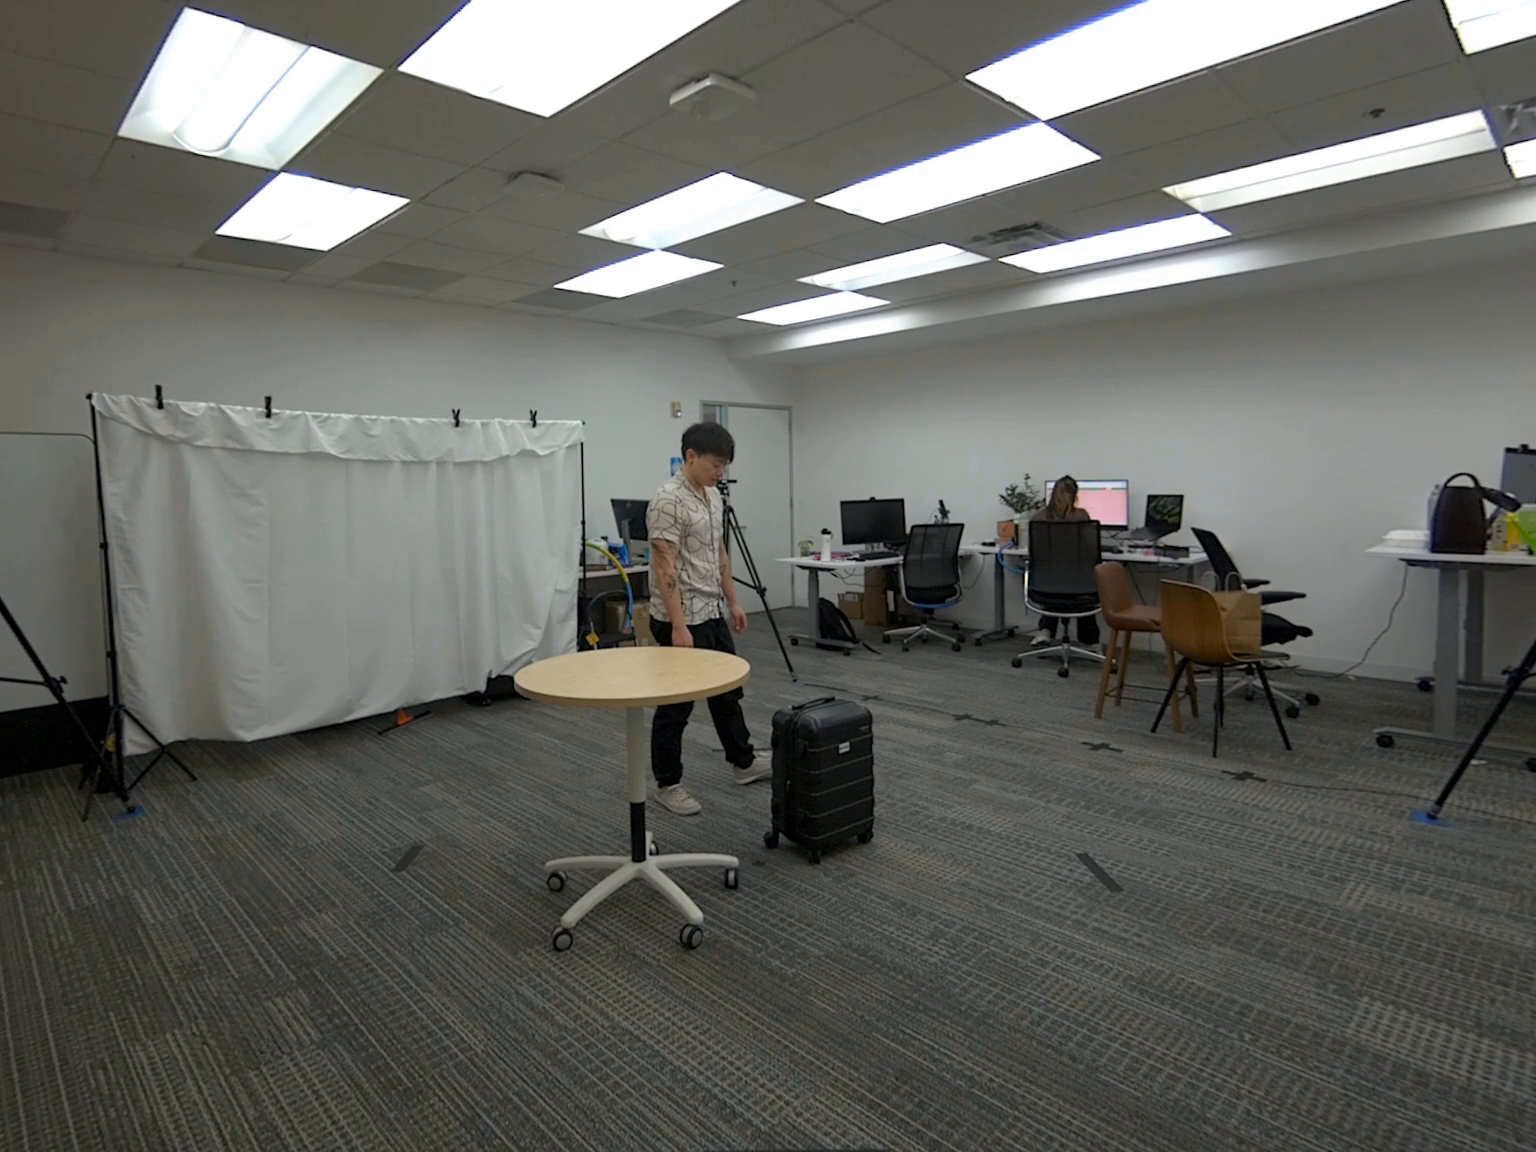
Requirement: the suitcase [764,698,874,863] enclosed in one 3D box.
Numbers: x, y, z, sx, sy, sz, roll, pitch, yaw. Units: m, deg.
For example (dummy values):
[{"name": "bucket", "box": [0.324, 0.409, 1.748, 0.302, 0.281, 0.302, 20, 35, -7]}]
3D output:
[{"name": "suitcase", "box": [0.210, 0.749, 3.251, 0.365, 0.547, 0.256, -4, 6, -40]}]
